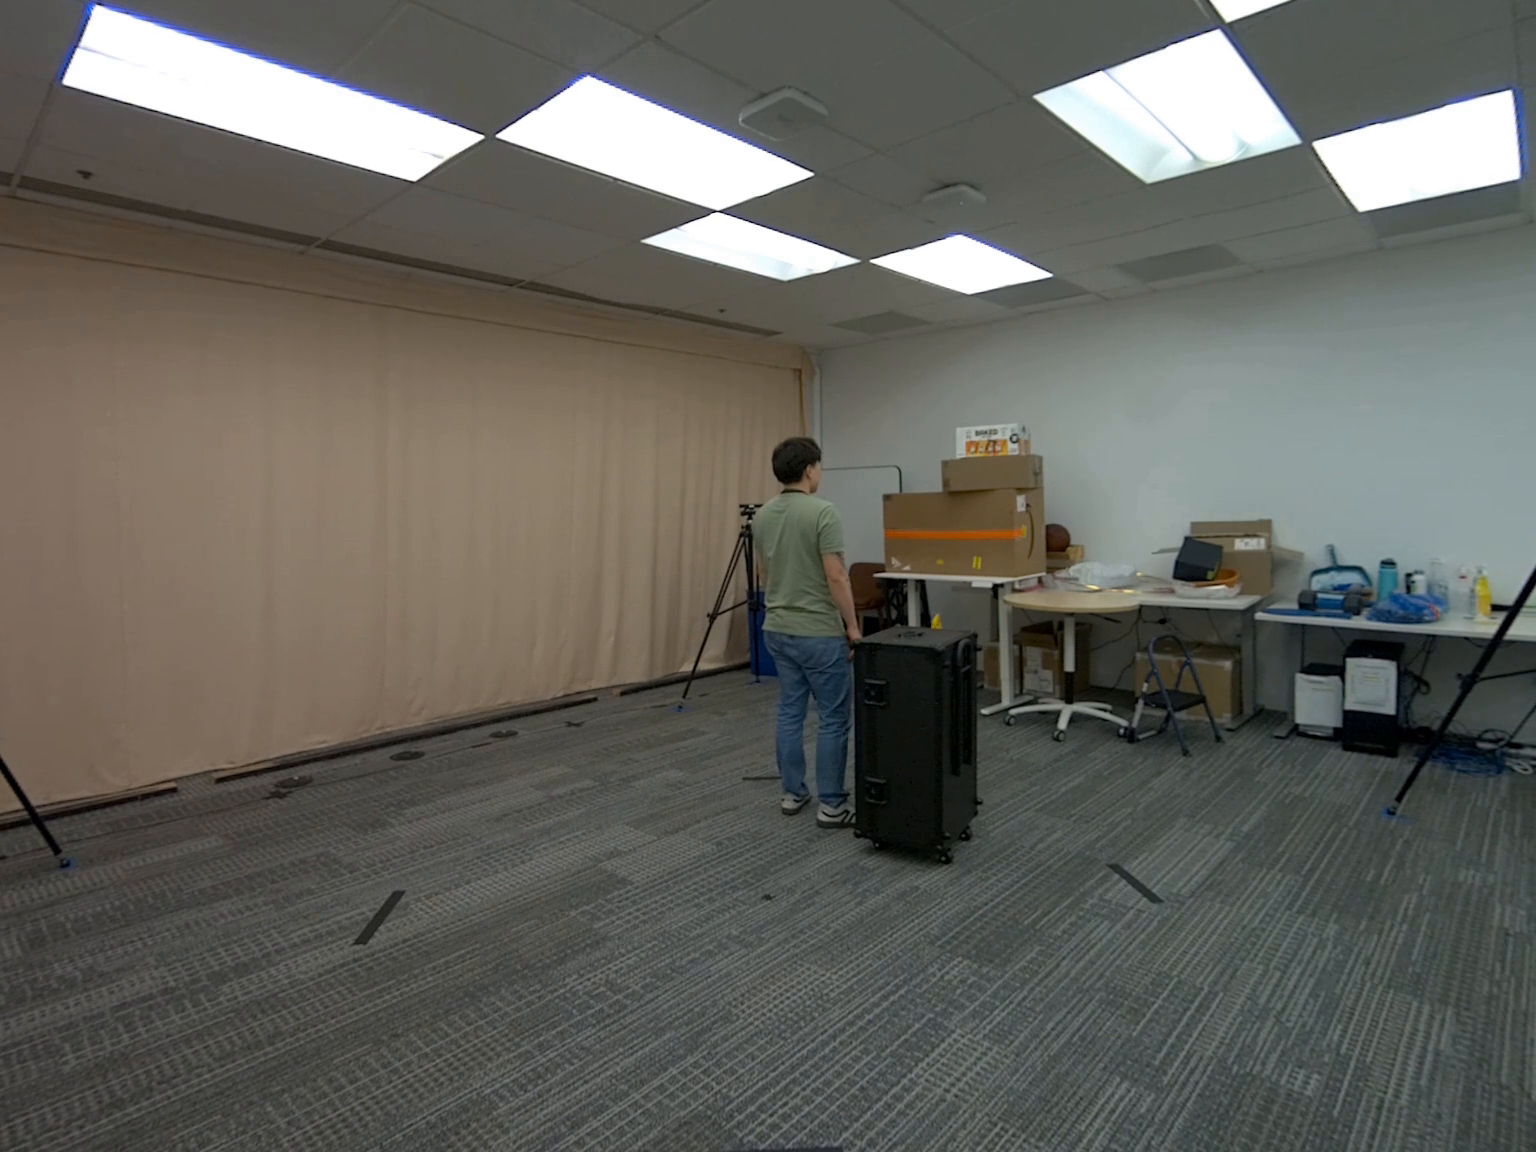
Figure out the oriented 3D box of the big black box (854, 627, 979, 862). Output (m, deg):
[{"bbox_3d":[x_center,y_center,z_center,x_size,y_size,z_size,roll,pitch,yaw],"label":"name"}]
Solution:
[{"bbox_3d":[0.636,0.669,3.416,0.408,0.860,0.507,2,4,31],"label":"big black box"}]
